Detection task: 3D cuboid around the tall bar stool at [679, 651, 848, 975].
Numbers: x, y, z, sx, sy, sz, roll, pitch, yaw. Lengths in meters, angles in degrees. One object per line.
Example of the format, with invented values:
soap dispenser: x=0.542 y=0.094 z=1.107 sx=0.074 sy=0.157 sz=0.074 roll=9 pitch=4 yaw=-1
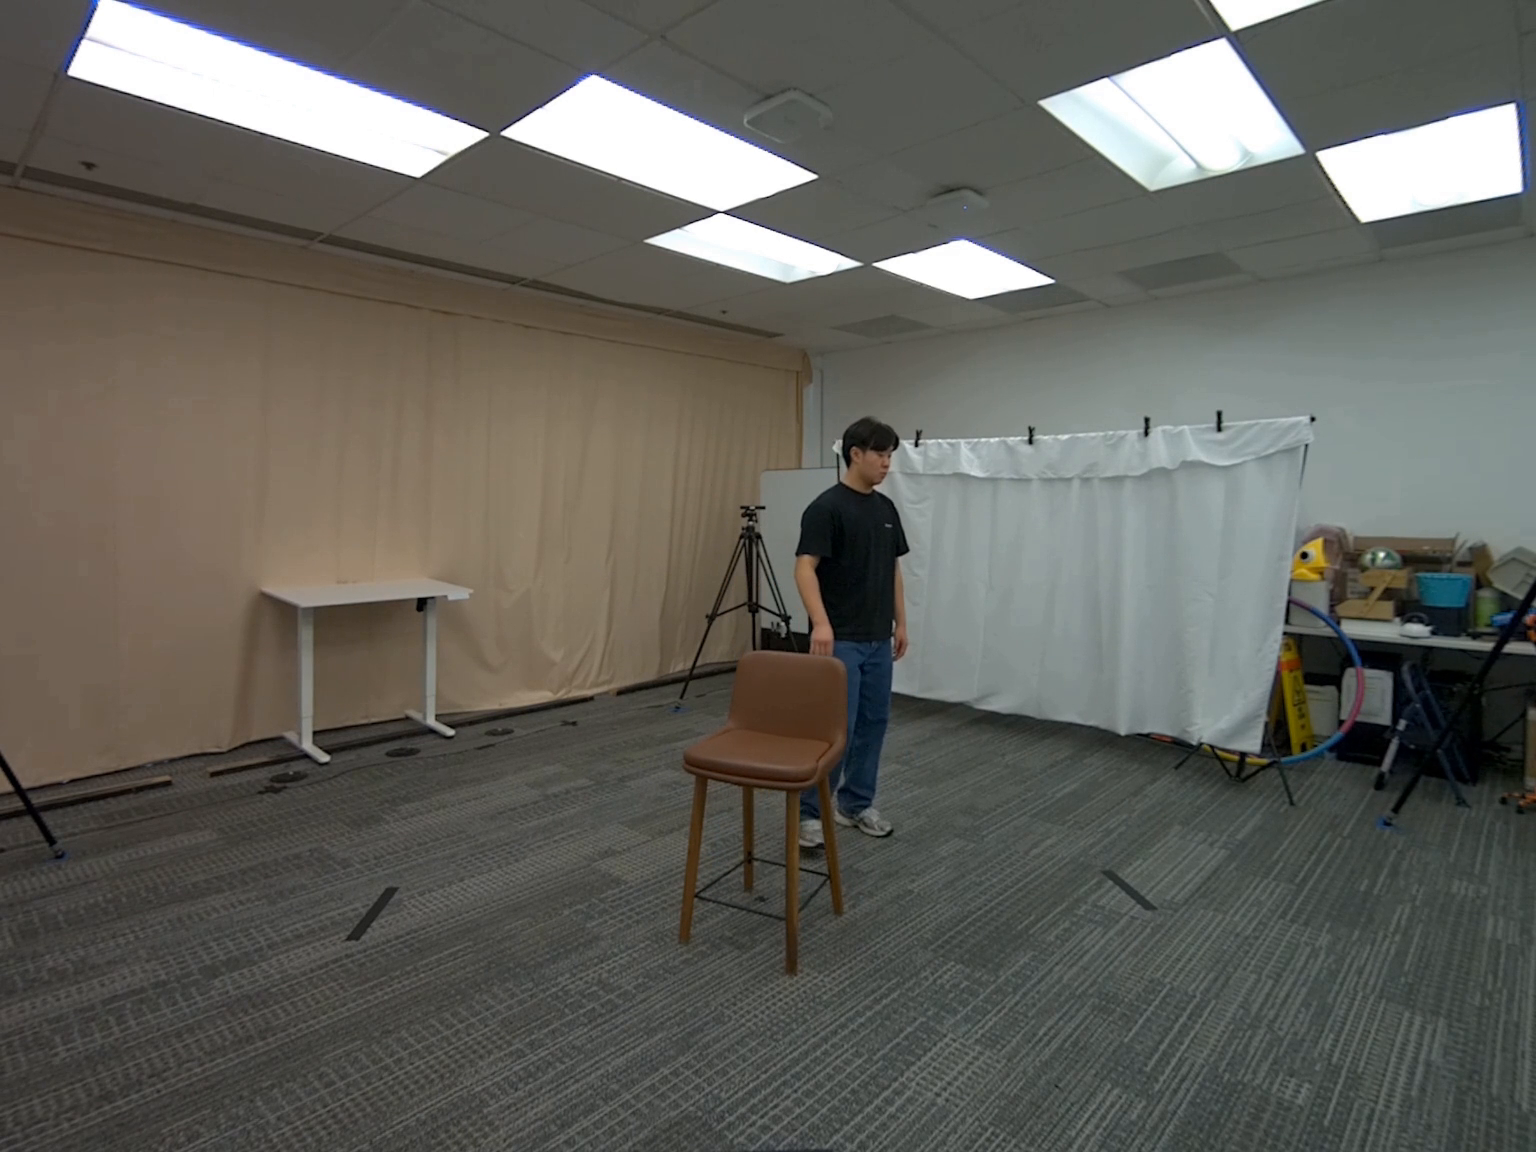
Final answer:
tall bar stool: x=0.000 y=0.726 z=2.765 sx=0.469 sy=0.889 sz=0.455 roll=2 pitch=2 yaw=29
